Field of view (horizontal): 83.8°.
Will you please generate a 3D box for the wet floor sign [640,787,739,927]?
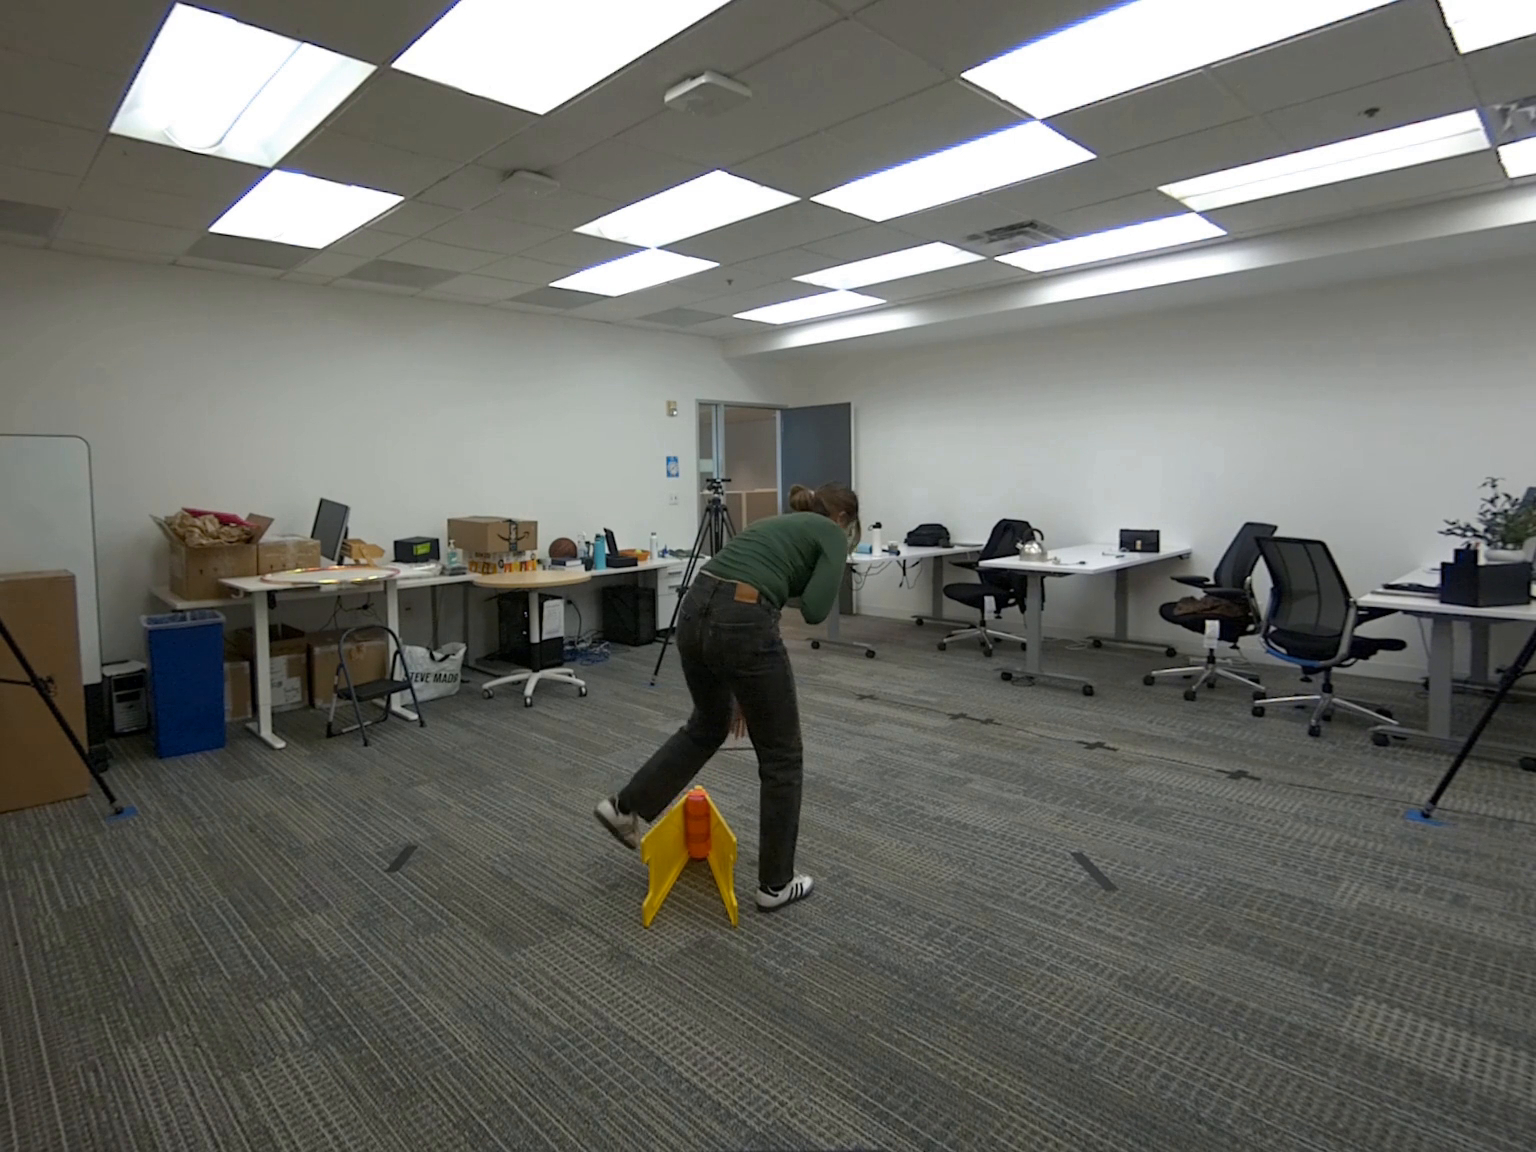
[{"bbox_3d":[-0.256,0.928,2.987,0.289,0.281,0.648,-2,4,-2],"label":"wet floor sign"}]
